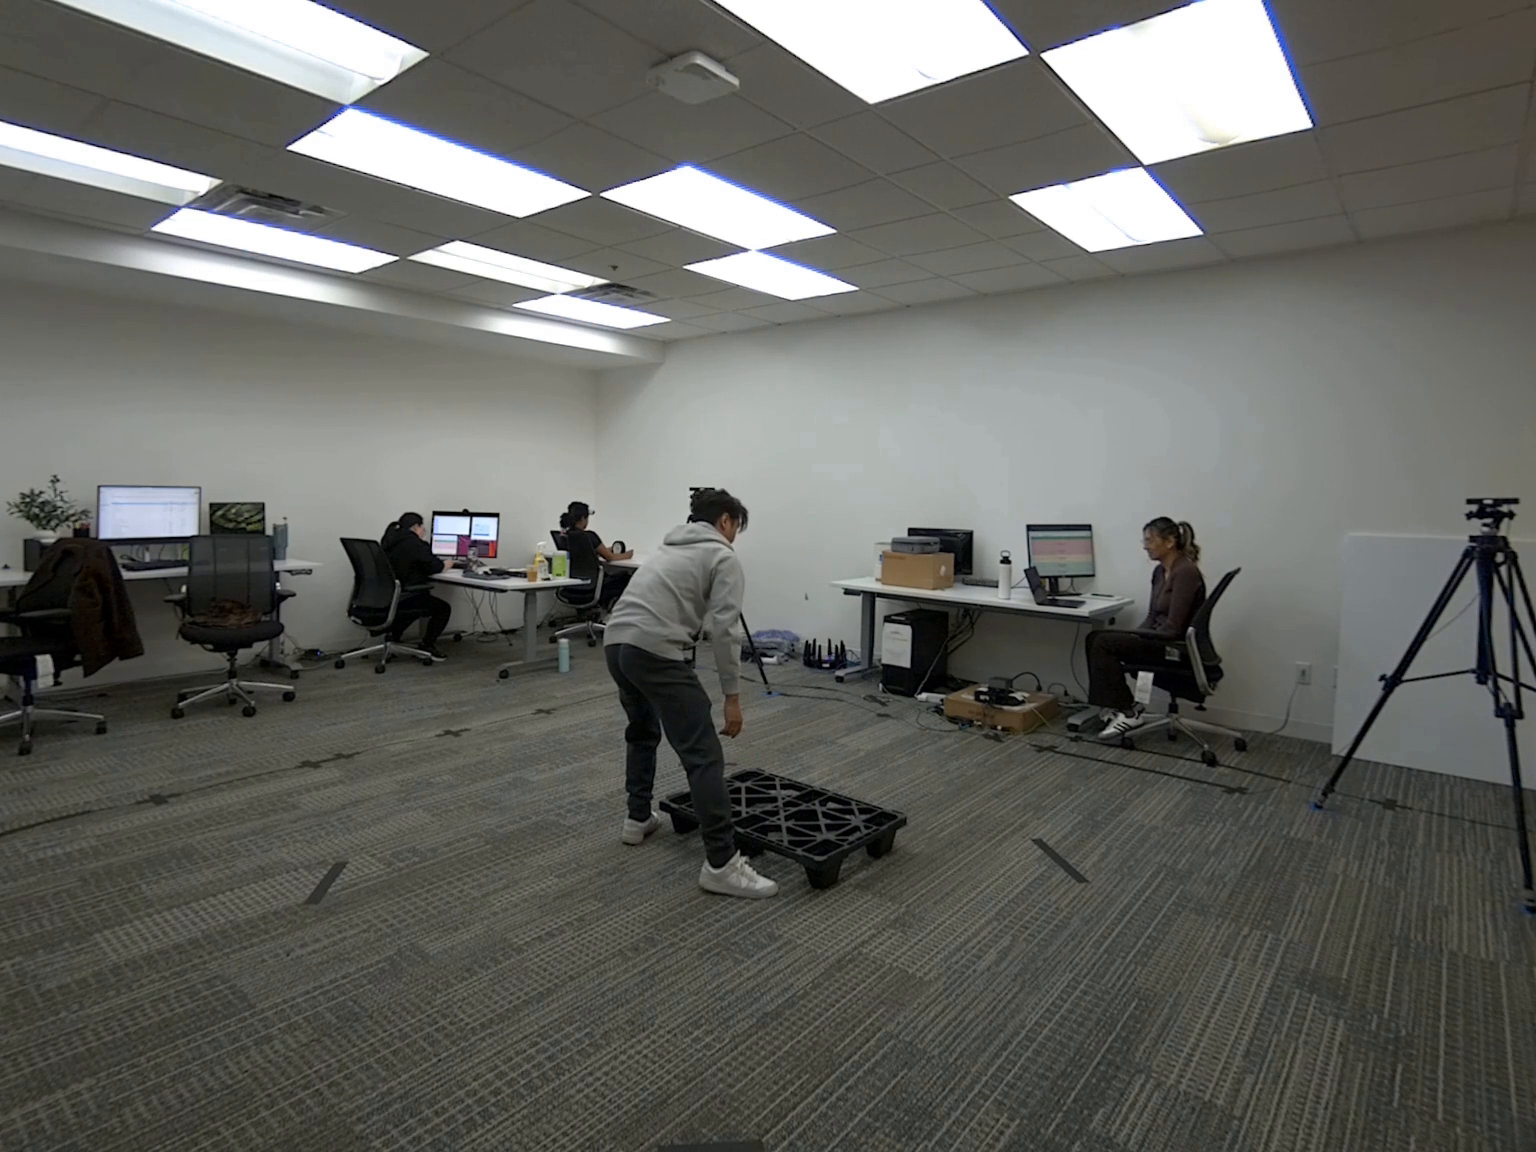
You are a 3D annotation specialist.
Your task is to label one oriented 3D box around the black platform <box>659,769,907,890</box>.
[{"bbox_3d":[0.043,0.982,3.363,0.833,0.143,0.587,6,8,40],"label":"black platform"}]
